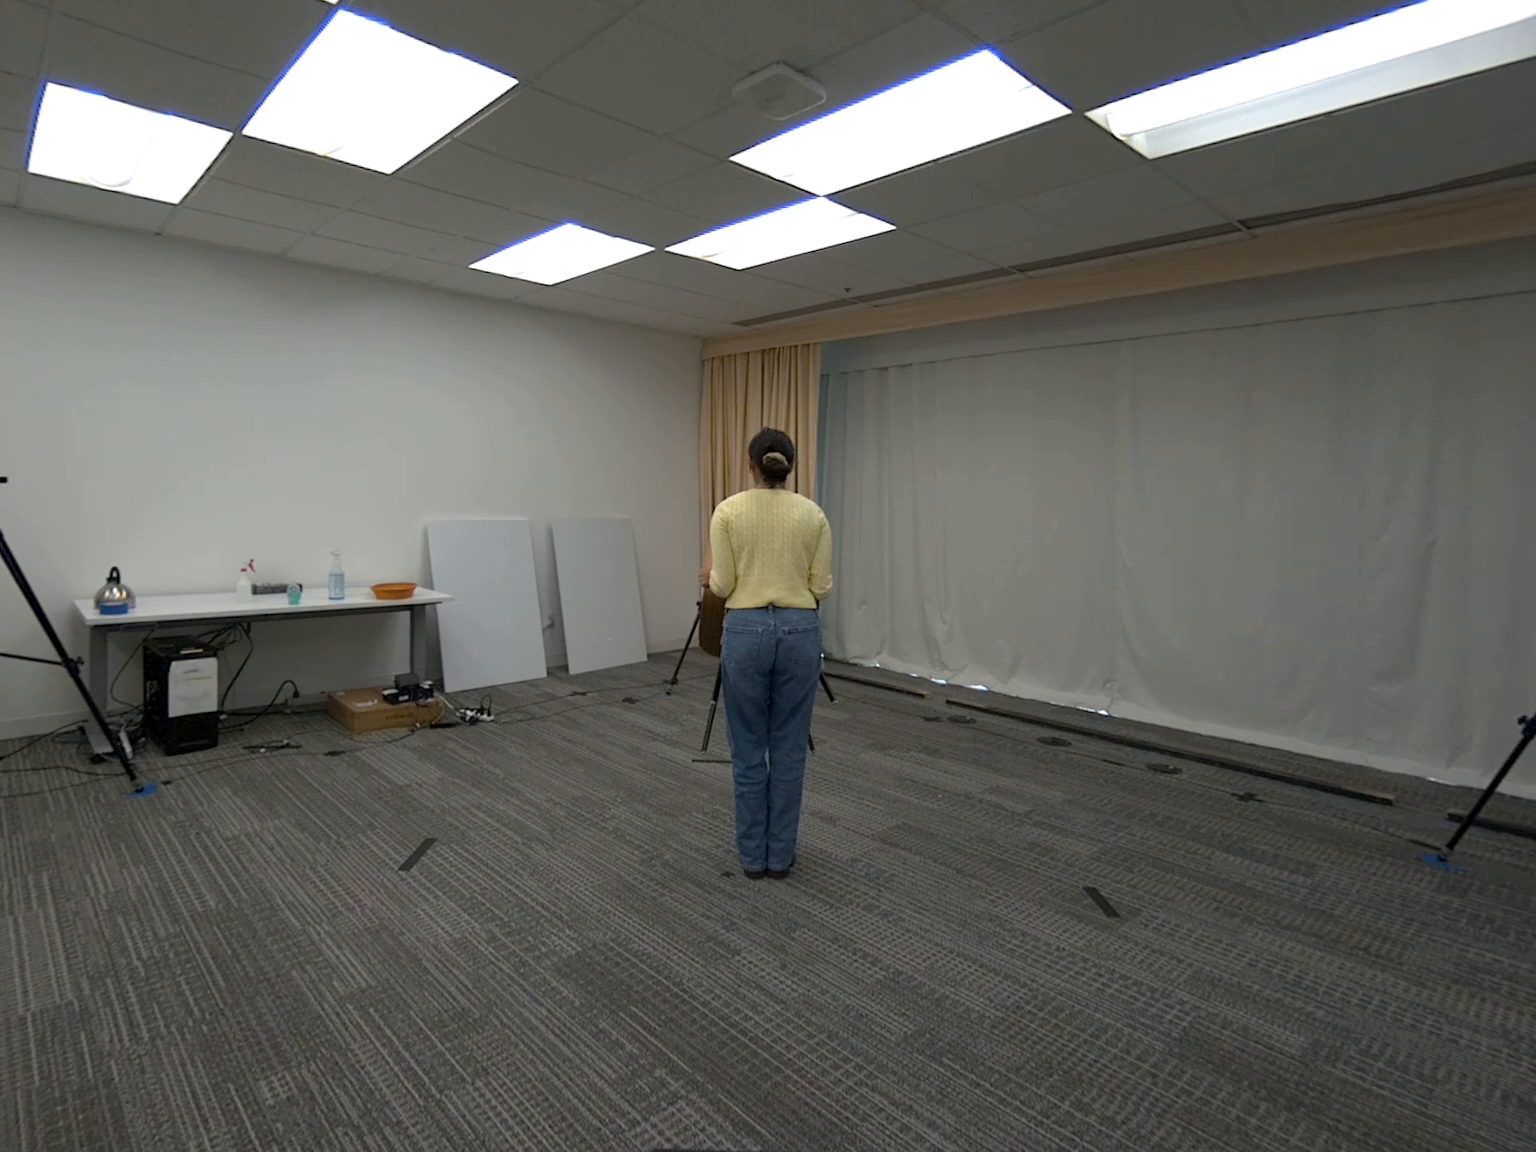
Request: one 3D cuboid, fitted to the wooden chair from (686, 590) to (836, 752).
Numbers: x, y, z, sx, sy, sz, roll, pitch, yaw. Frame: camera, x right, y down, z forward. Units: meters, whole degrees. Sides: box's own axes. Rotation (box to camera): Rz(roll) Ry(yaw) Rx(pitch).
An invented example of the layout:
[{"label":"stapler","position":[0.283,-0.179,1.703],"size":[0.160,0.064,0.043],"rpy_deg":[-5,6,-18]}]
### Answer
[{"label":"wooden chair","position":[-0.040,0.229,3.399],"size":[0.475,0.895,0.515],"rpy_deg":[1,-31,-7]}]
